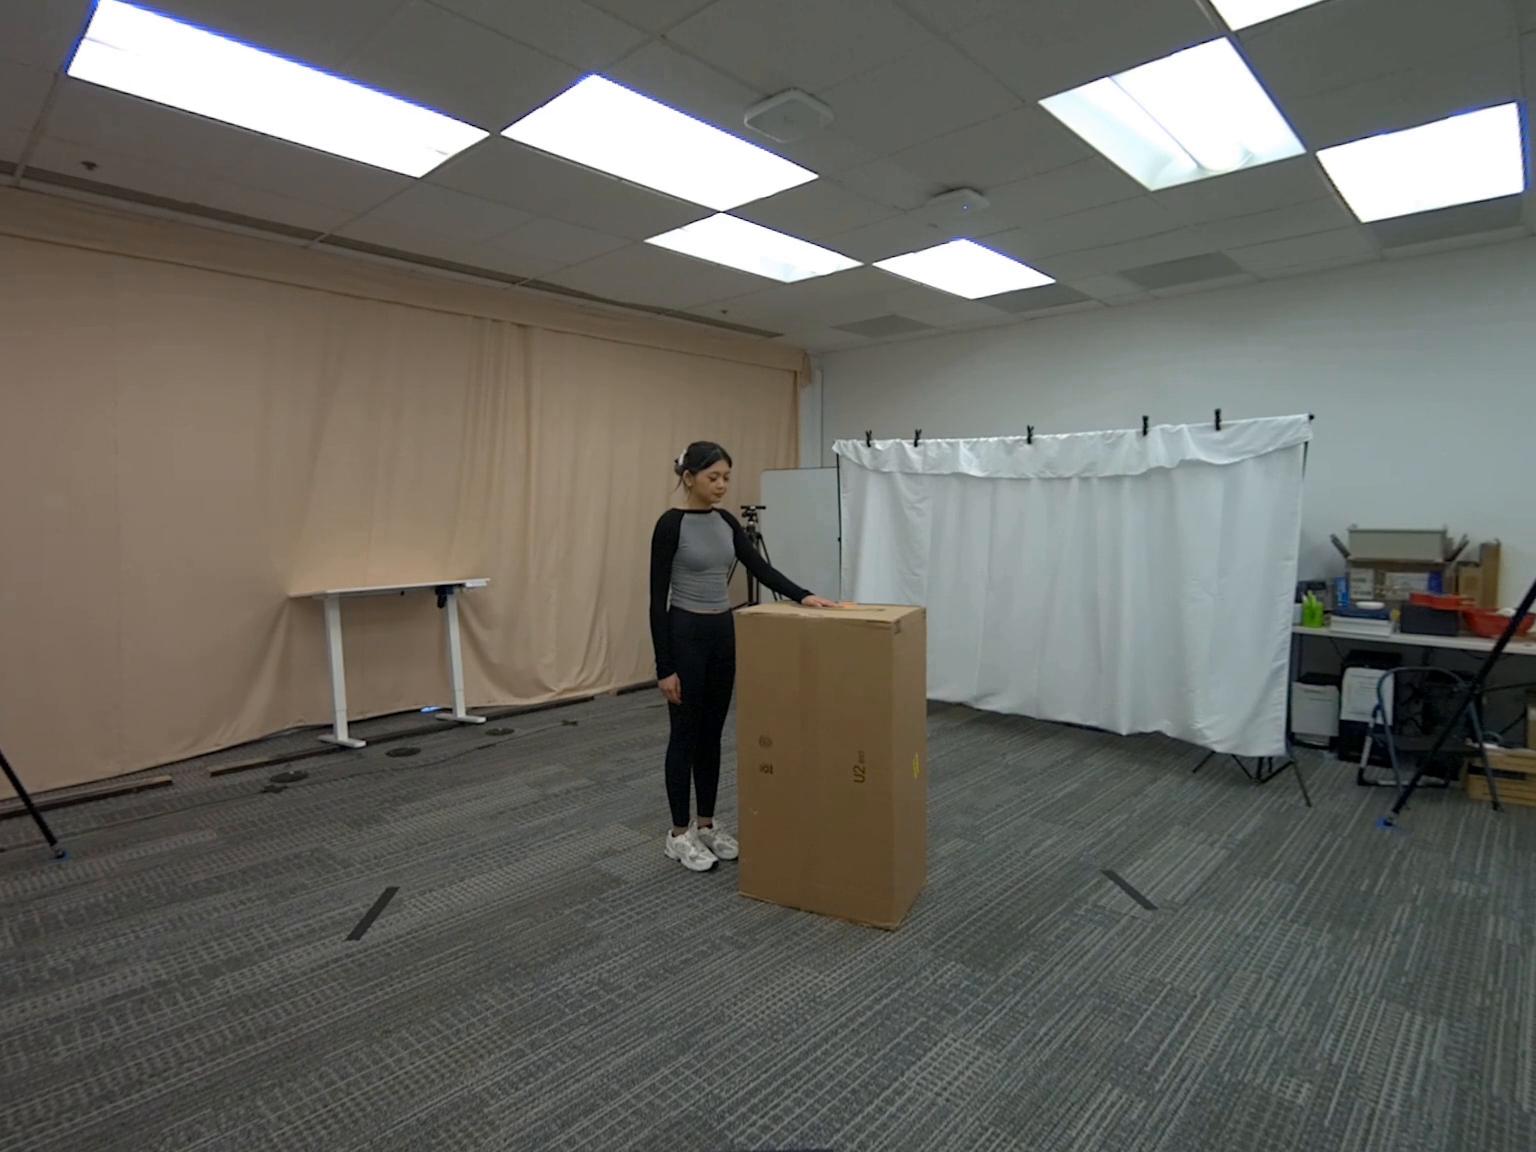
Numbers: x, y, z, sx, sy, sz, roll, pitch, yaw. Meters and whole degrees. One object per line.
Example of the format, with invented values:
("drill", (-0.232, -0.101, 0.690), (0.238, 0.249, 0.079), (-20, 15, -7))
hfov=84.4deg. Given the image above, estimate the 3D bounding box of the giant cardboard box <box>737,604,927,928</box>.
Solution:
("giant cardboard box", (0.245, 0.633, 3.040), (0.599, 1.024, 0.436), (1, 4, 26))
